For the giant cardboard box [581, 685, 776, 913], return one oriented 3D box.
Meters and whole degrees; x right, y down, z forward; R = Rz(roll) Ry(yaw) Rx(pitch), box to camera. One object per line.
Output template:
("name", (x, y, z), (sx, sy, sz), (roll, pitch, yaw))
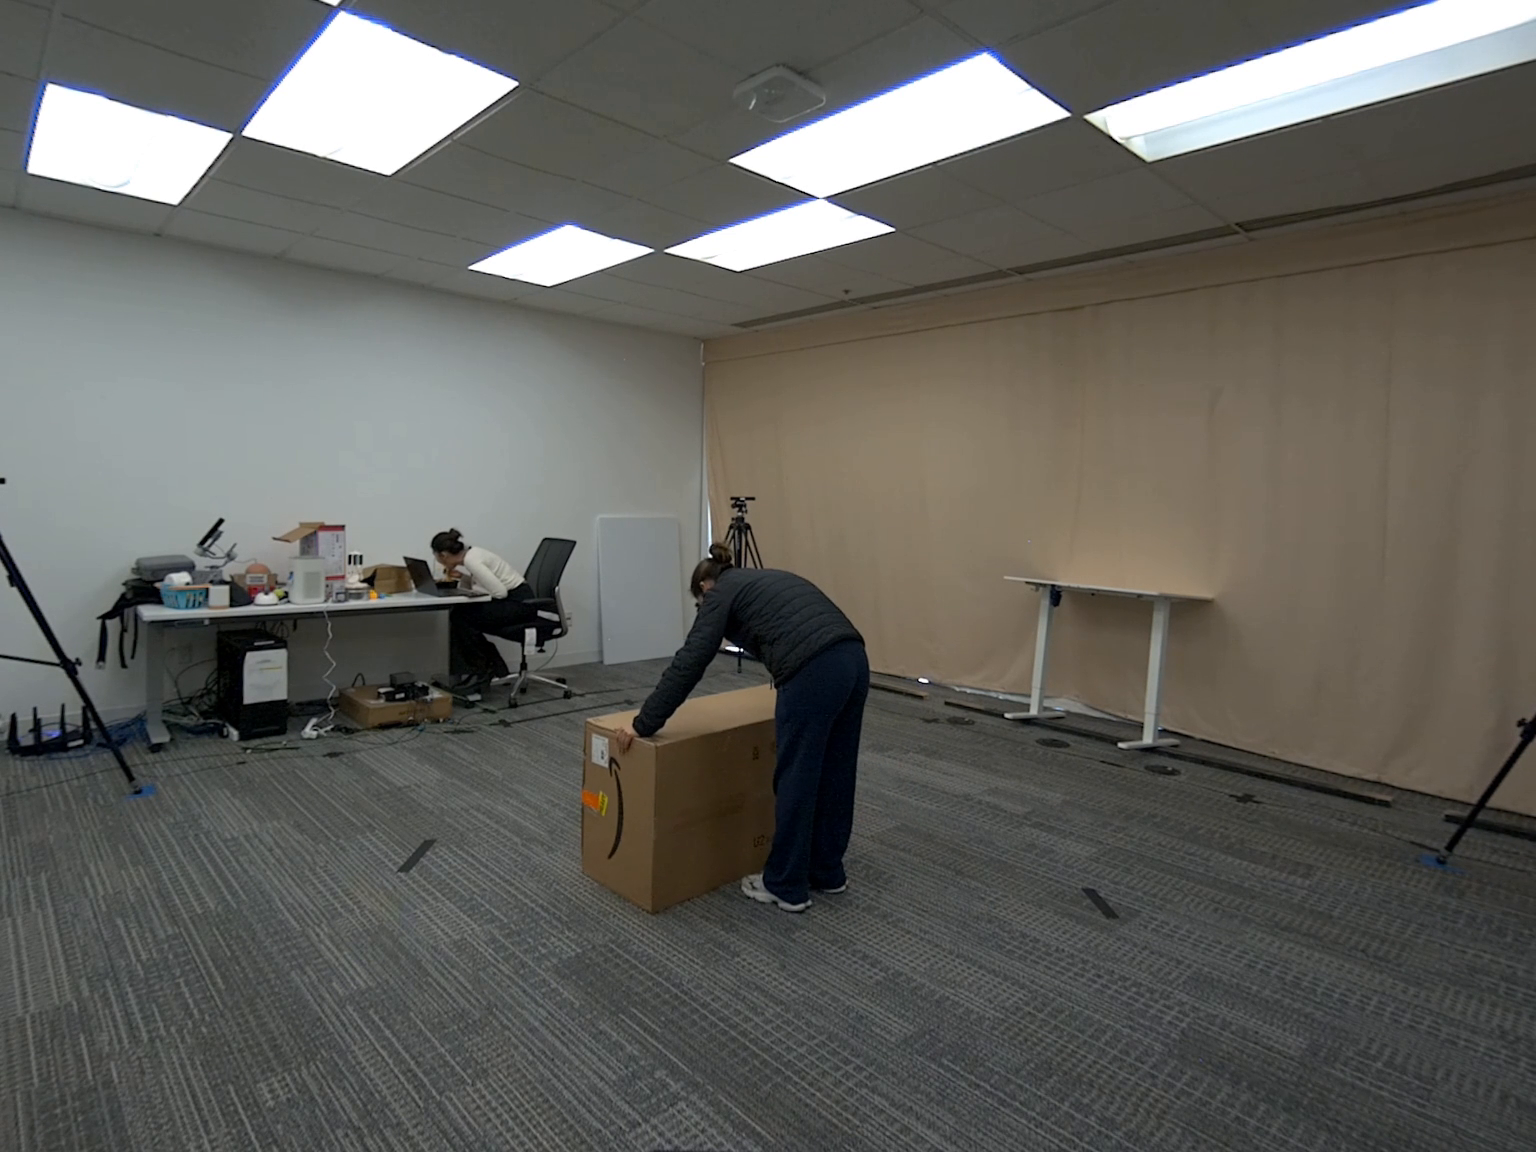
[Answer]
("giant cardboard box", (-0.183, 0.805, 3.276), (1.003, 0.582, 0.458), (-3, 7, -45))
